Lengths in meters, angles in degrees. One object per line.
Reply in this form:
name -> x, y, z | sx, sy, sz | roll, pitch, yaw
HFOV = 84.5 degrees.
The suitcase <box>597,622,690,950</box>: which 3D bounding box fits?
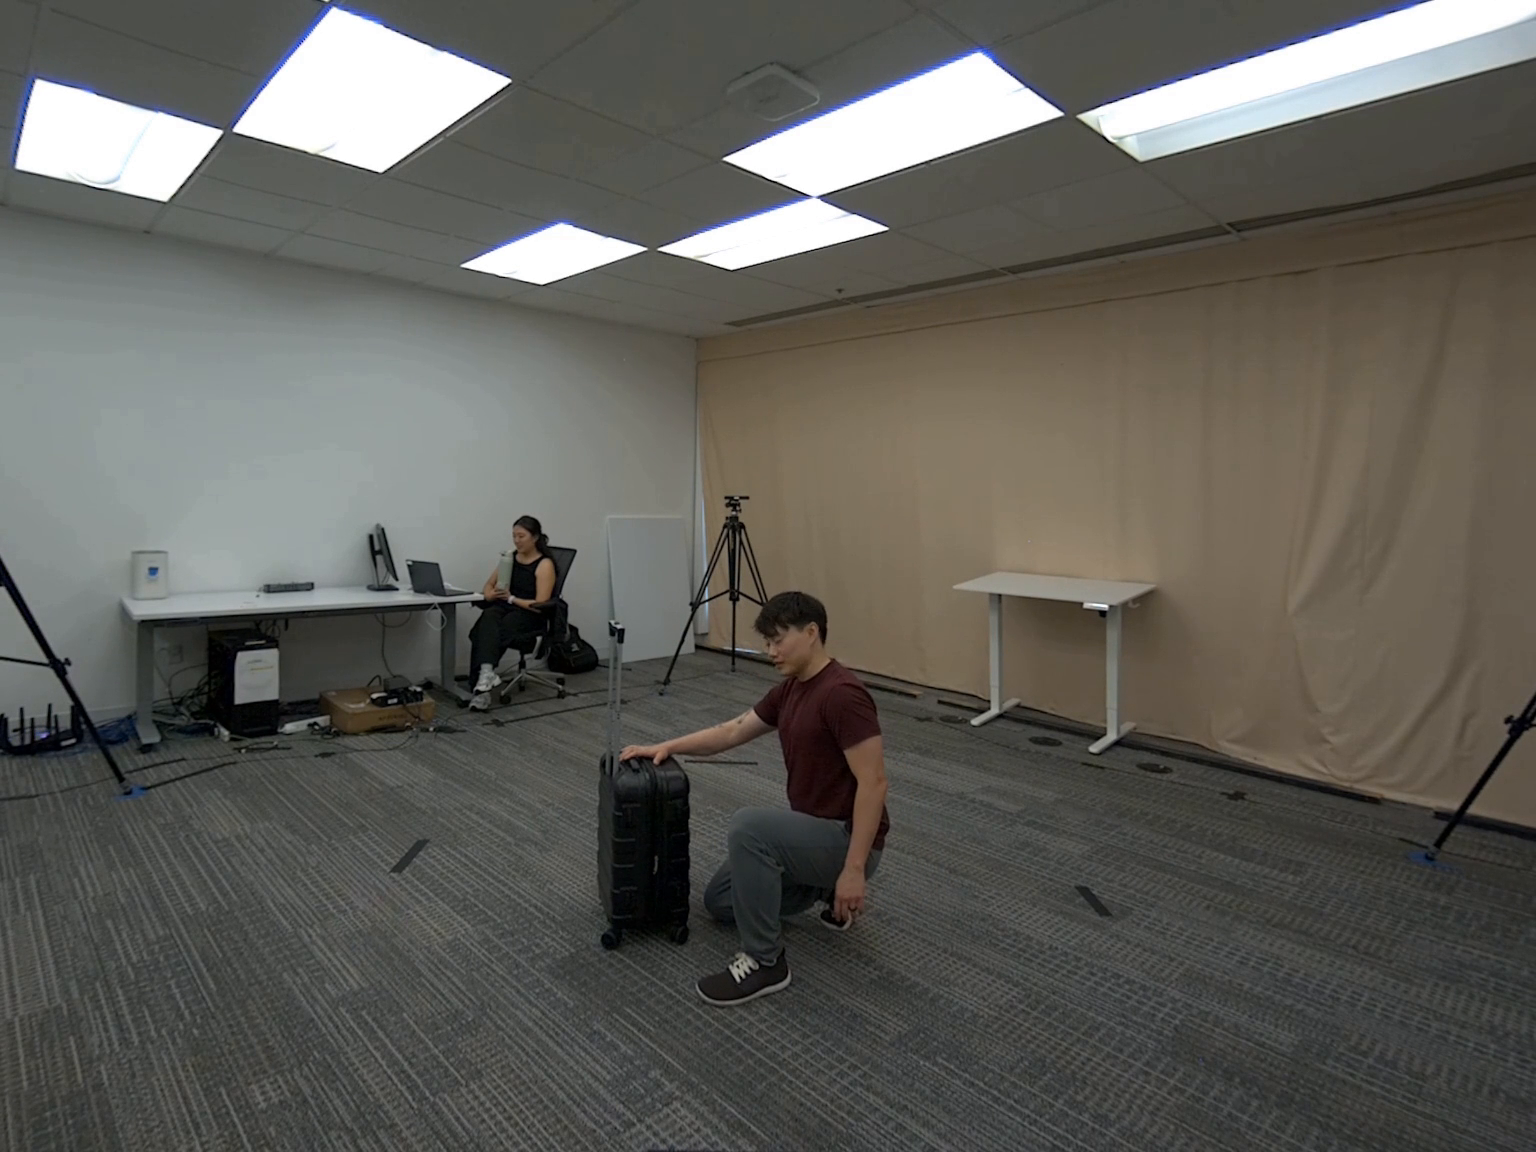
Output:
suitcase -> -0.403, 0.650, 2.734 | 0.254, 0.976, 0.390 | 1, 4, -16
